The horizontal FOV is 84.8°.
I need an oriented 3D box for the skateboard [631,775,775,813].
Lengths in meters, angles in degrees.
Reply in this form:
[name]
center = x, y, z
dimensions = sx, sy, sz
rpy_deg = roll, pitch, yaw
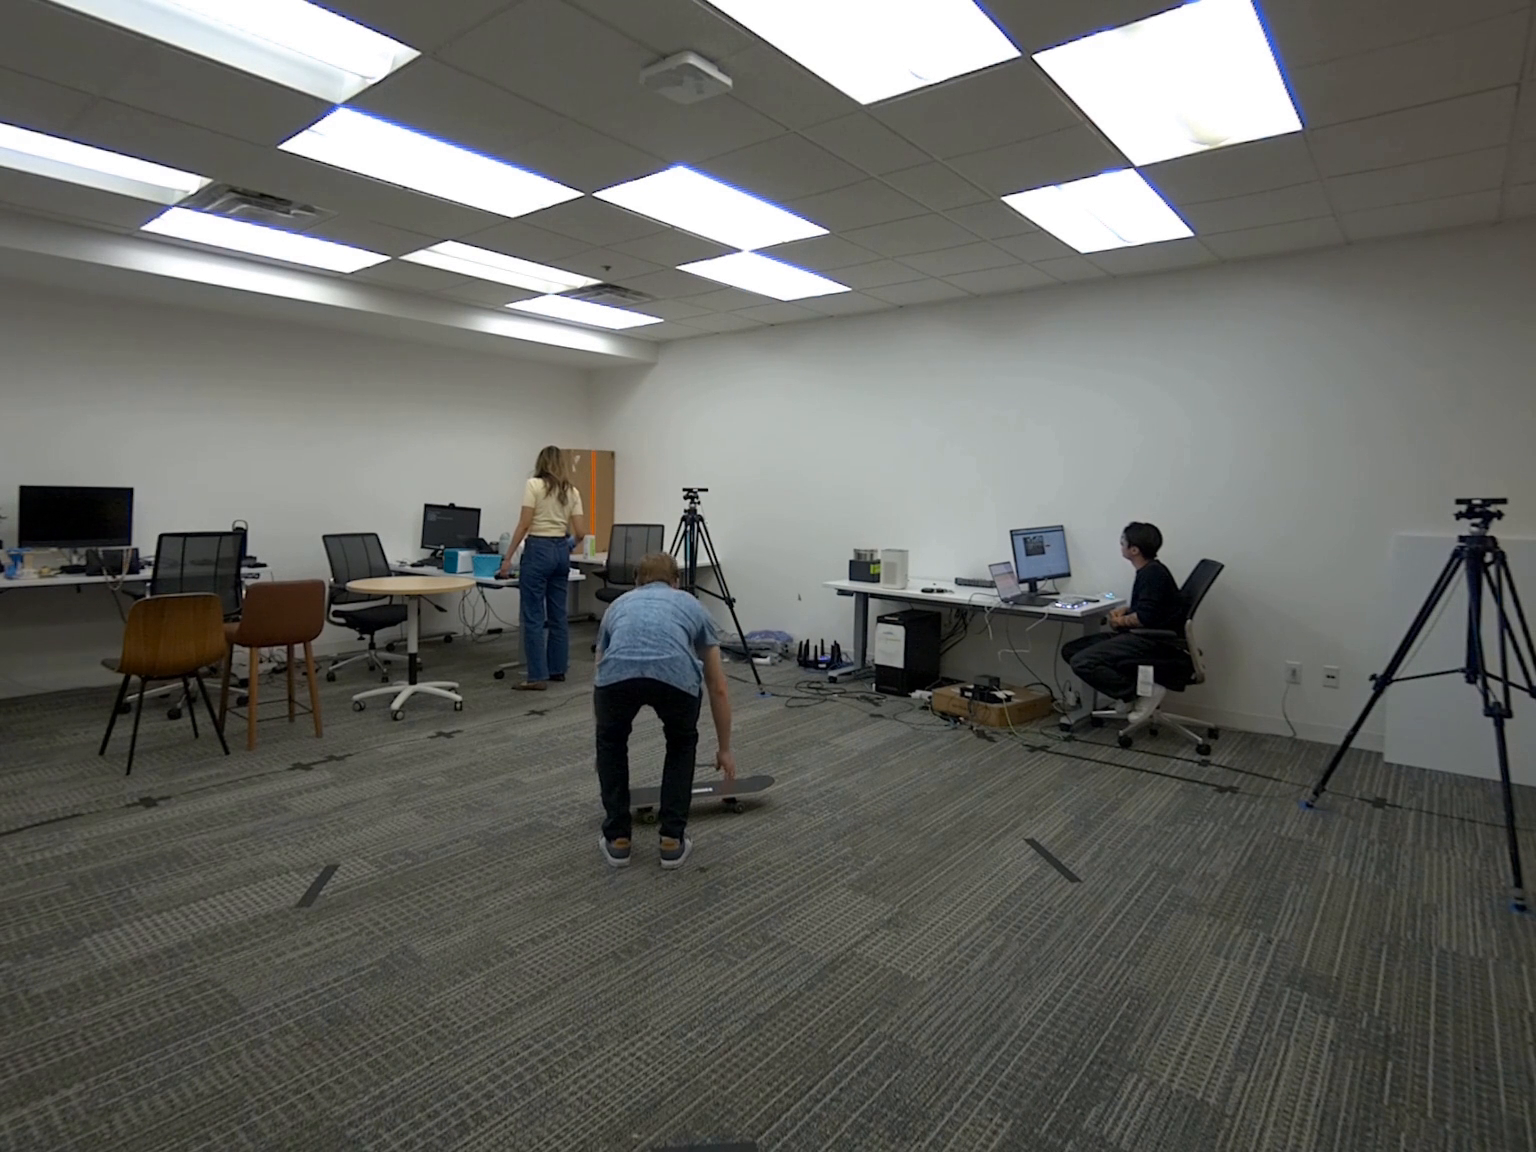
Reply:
[skateboard]
center = -0.353, 0.959, 3.671
dimensions = 0.771, 0.110, 0.198
rpy_deg = -1, 6, -19
